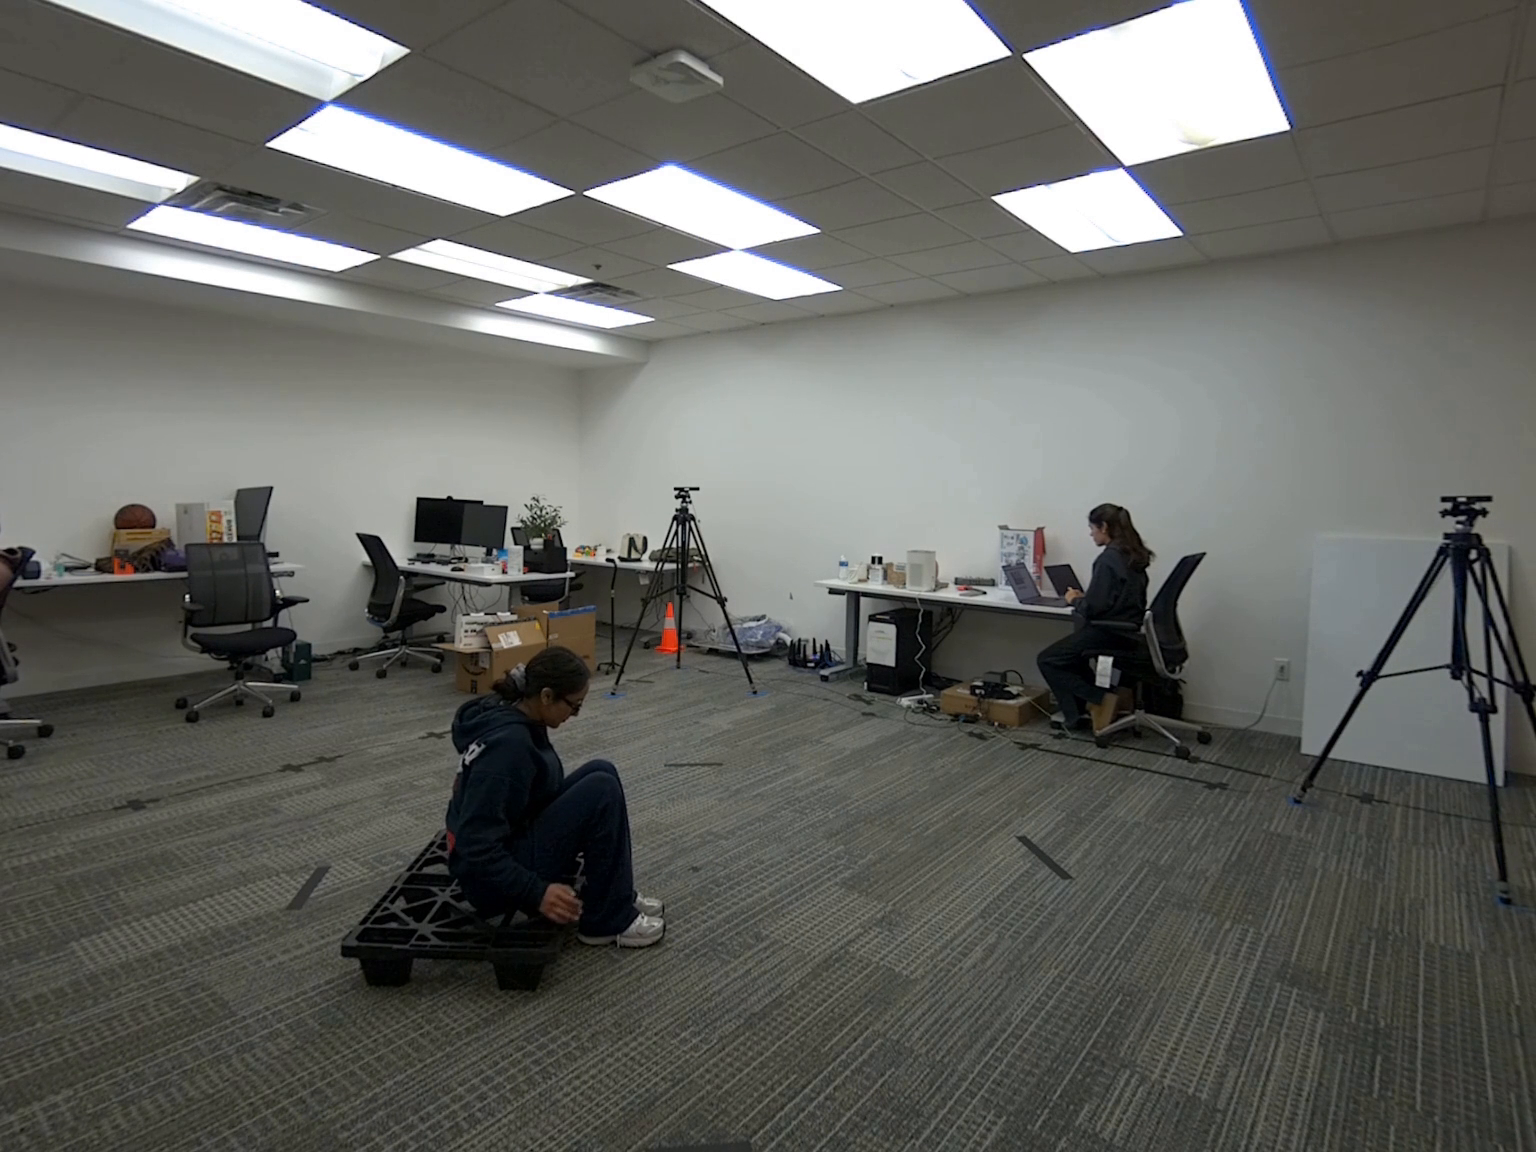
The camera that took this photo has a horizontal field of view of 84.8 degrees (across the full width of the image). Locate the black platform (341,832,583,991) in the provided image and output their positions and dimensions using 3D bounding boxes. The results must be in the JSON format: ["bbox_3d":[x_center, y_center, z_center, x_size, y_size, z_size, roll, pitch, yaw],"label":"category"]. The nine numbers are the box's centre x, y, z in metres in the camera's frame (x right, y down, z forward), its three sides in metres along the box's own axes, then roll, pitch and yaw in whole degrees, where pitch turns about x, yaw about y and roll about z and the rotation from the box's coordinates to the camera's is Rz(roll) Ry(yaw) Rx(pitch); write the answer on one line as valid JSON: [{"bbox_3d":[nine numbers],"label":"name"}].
[{"bbox_3d":[-0.901,1.029,2.703,0.605,0.143,0.809,0,6,-1],"label":"black platform"}]
